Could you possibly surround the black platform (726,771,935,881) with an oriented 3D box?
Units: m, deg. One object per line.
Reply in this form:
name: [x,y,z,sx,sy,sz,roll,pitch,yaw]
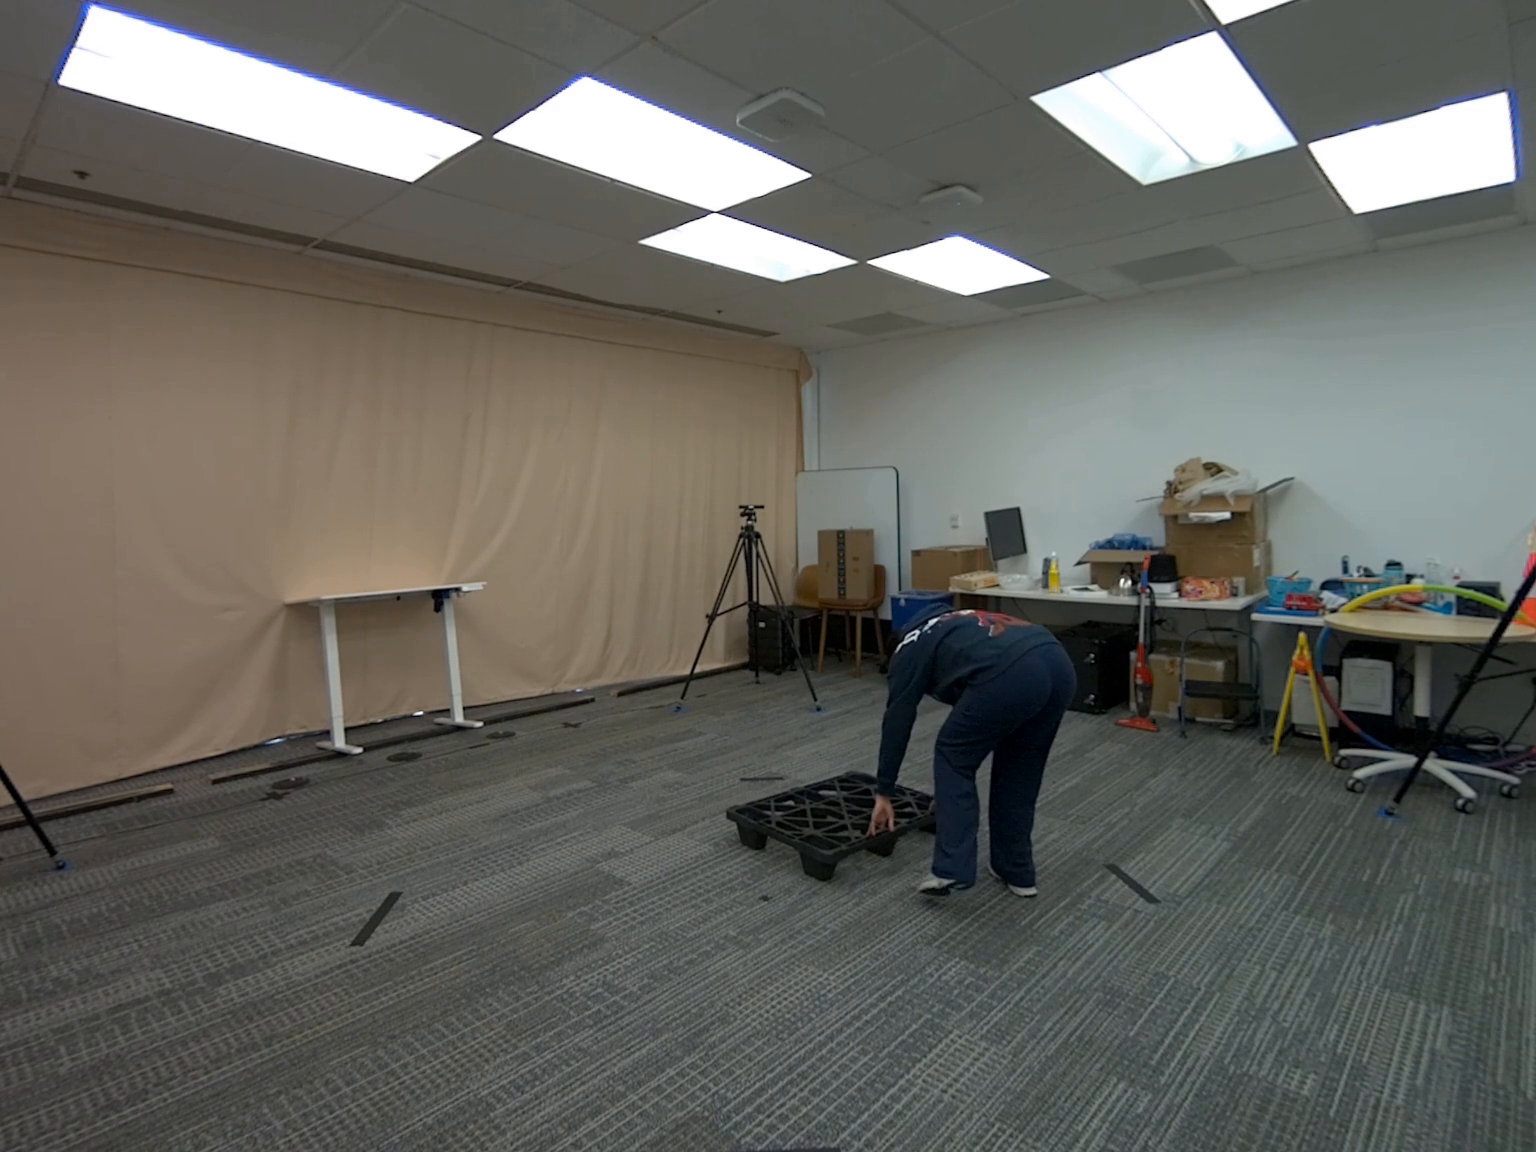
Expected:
black platform: [0.323,1.026,3.500,0.781,0.143,0.625,-5,7,-40]
